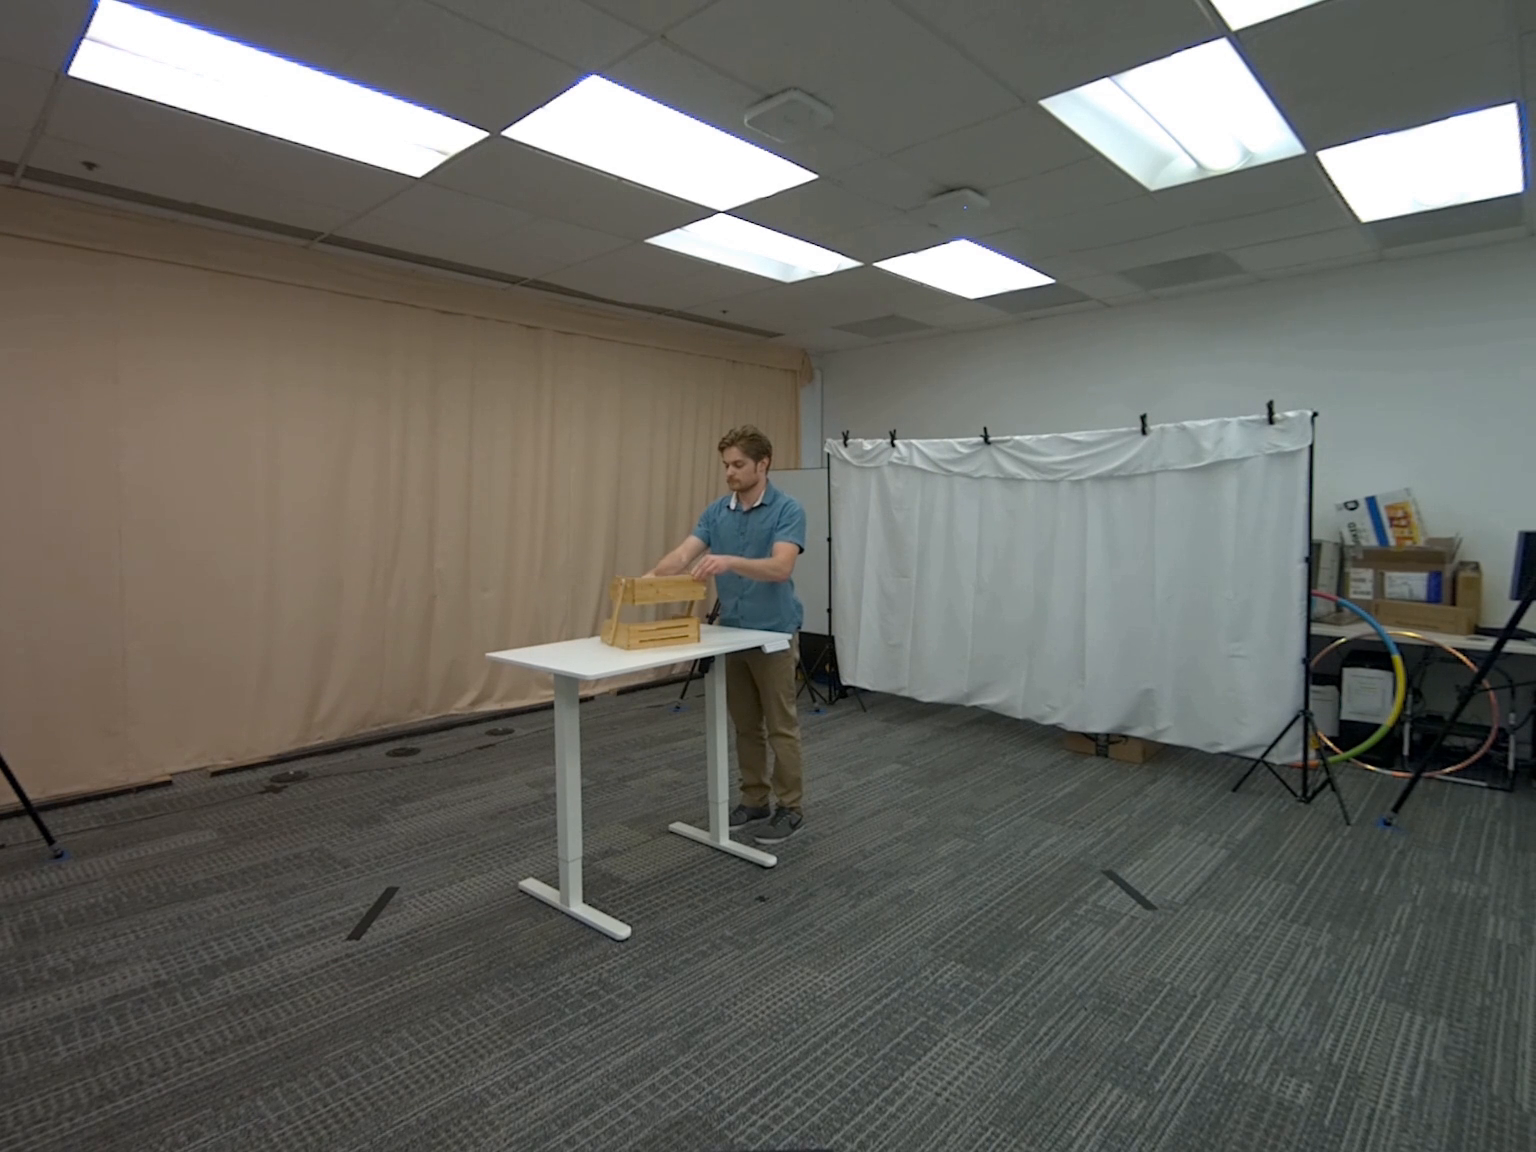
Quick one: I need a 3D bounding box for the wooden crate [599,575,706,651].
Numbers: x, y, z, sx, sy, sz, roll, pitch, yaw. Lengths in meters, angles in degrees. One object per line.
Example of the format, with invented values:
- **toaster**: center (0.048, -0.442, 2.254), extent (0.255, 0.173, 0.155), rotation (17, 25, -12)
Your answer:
- **wooden crate**: center (-0.435, 0.119, 3.153), extent (0.315, 0.273, 0.311), rotation (-3, 5, -32)
